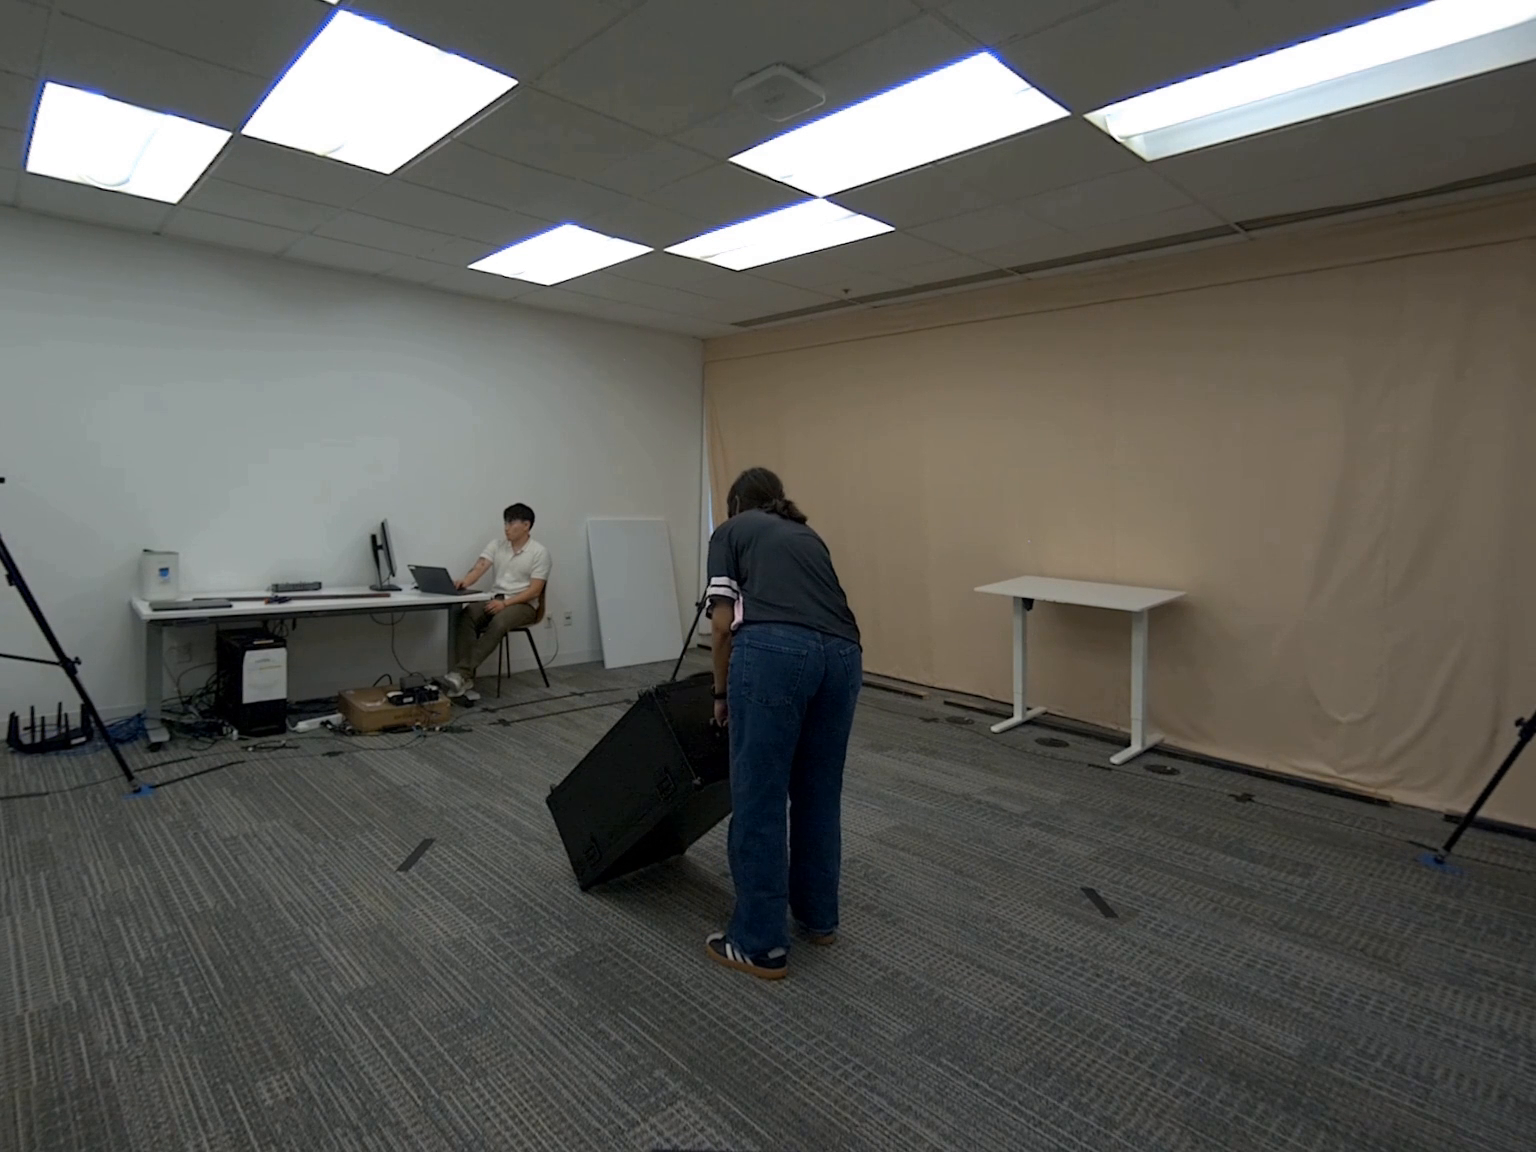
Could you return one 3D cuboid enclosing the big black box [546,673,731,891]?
[{"bbox_3d":[-0.389,0.731,2.984,0.512,0.394,0.868,-5,-34,-48],"label":"big black box"}]
